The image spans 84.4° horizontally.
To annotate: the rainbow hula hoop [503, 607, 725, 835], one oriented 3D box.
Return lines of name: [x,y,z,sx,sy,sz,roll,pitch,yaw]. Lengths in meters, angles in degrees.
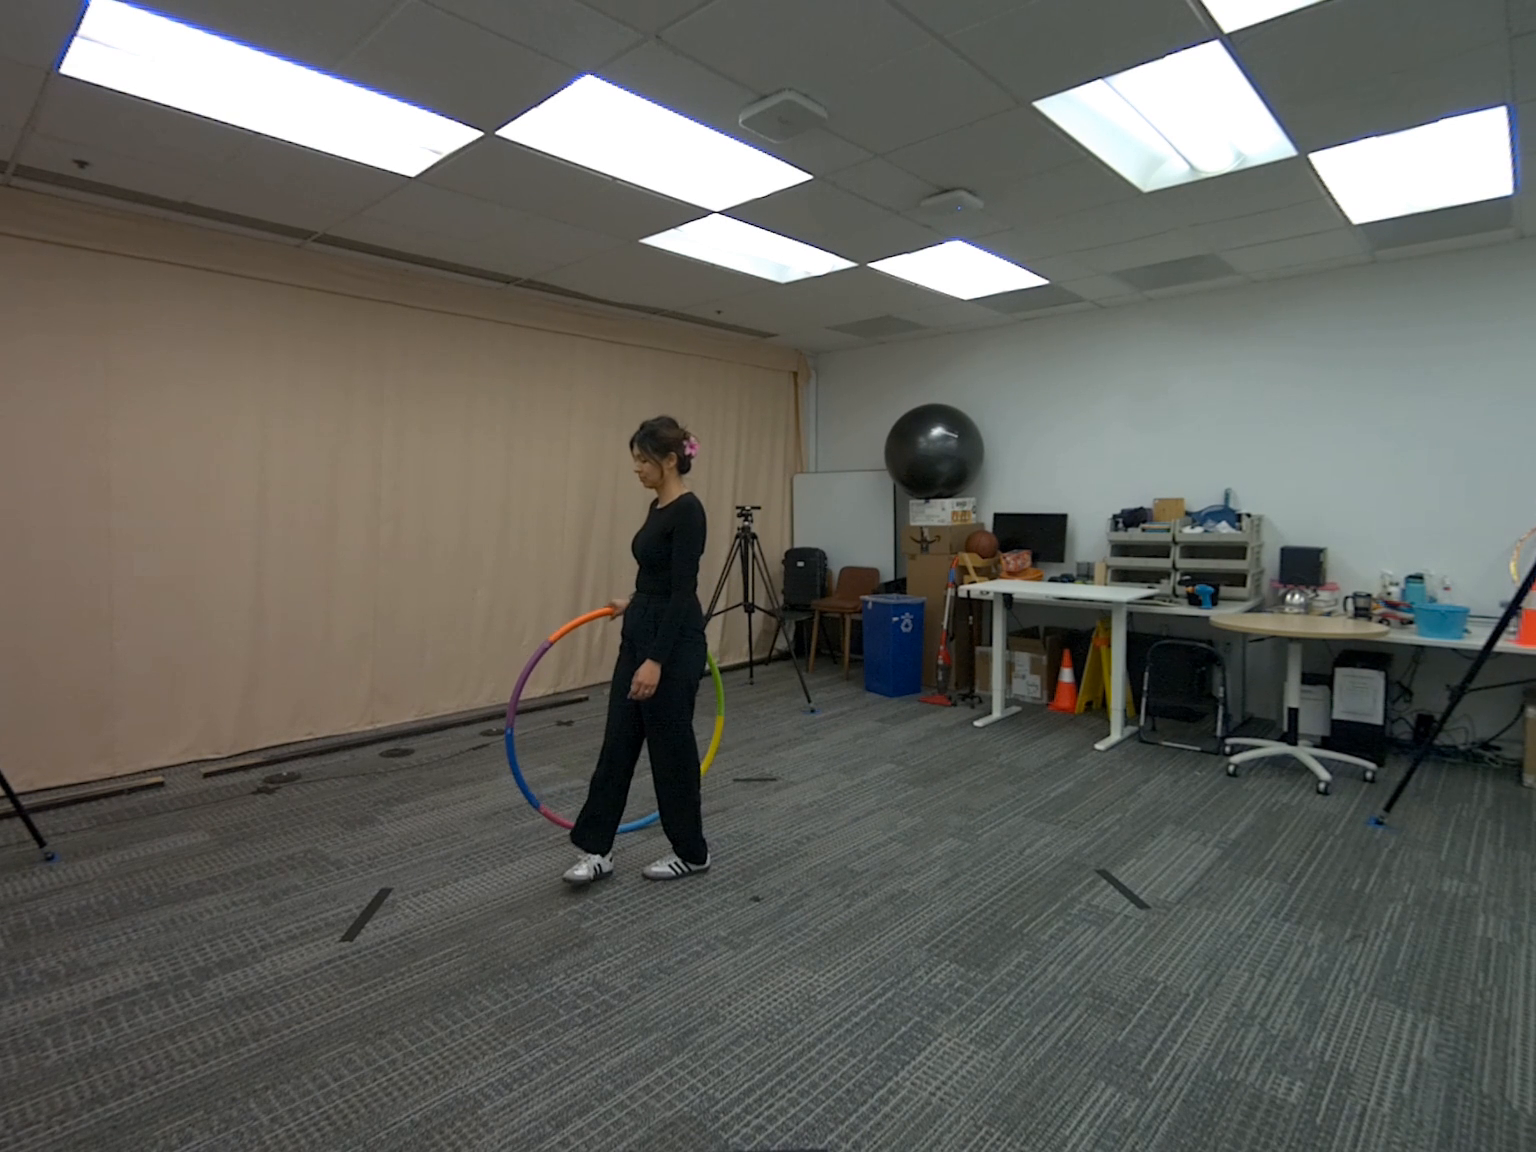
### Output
rainbow hula hoop: [-0.627,0.614,3.549,0.953,0.975,0.036,-2,6,-29]
